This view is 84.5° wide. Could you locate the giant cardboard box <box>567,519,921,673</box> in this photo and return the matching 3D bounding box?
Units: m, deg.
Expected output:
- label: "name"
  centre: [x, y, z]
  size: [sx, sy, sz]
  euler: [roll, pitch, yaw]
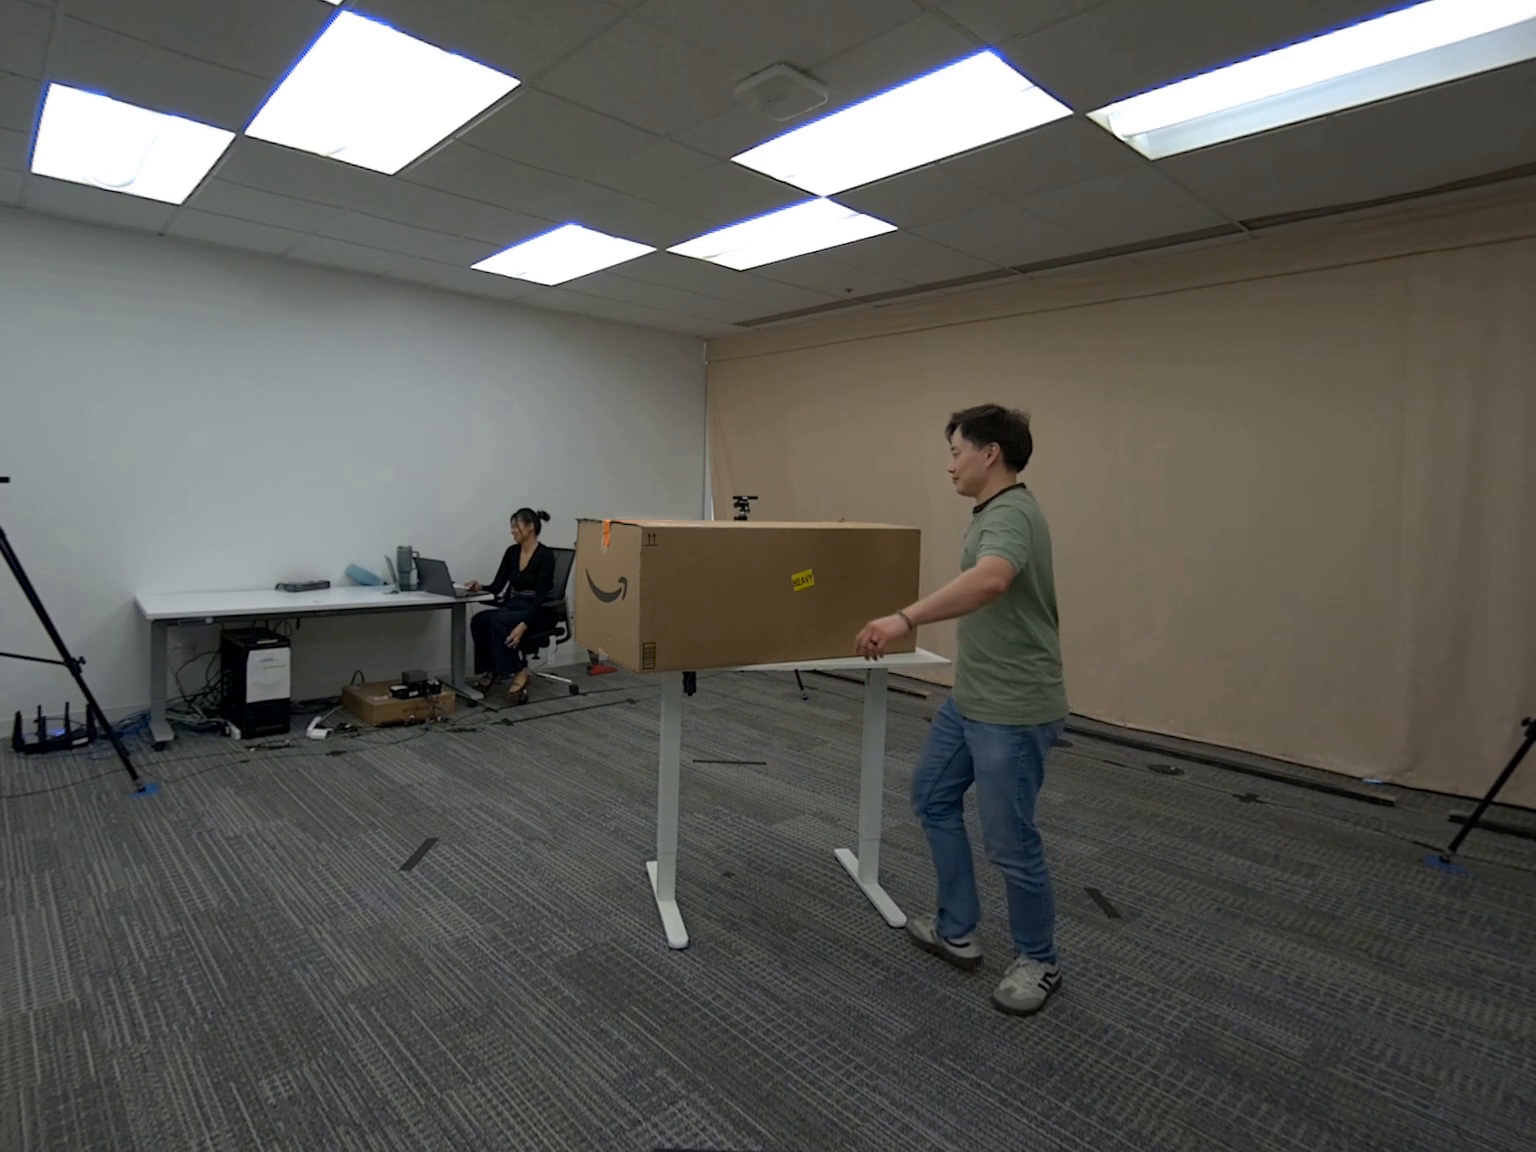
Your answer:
- label: "giant cardboard box"
  centre: [-0.074, 0.031, 2.861]
  size: [1.005, 0.425, 0.591]
  euler: [-1, 6, -30]
